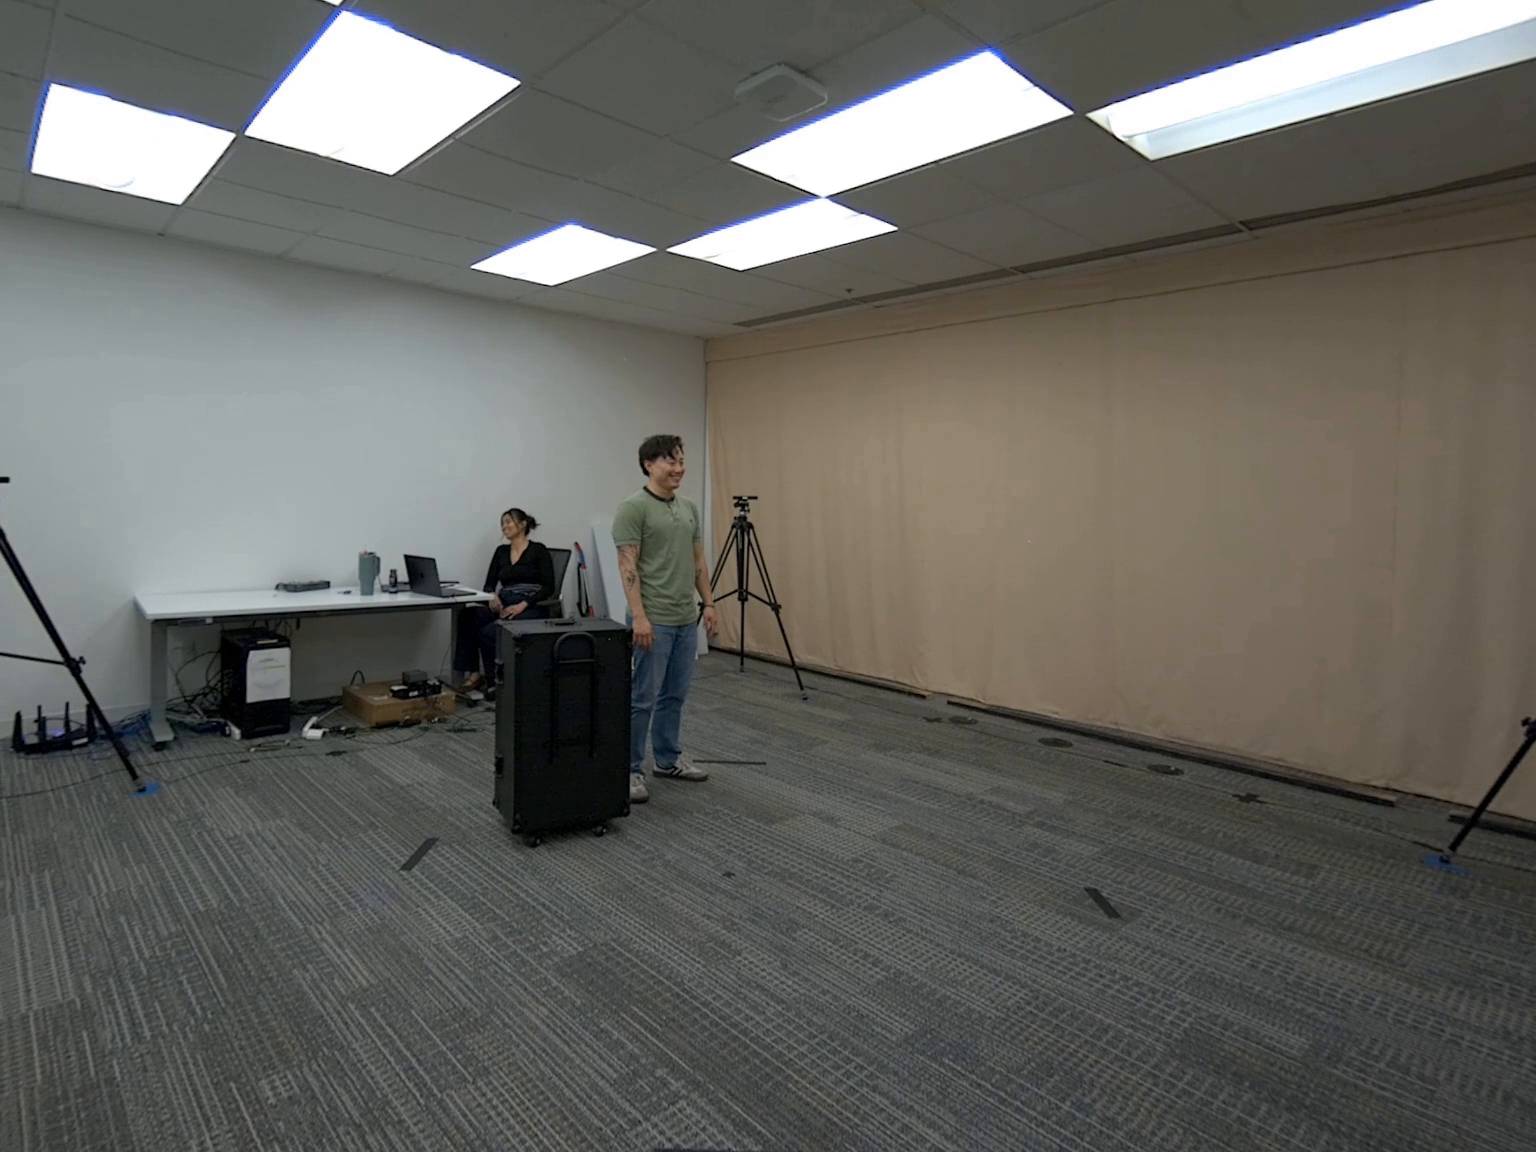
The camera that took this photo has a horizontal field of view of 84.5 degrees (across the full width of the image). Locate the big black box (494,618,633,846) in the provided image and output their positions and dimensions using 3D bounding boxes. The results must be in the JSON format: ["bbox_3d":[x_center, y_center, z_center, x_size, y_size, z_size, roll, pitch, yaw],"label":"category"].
[{"bbox_3d":[-0.859,0.623,3.485,0.511,0.859,0.405,0,5,-28],"label":"big black box"}]
